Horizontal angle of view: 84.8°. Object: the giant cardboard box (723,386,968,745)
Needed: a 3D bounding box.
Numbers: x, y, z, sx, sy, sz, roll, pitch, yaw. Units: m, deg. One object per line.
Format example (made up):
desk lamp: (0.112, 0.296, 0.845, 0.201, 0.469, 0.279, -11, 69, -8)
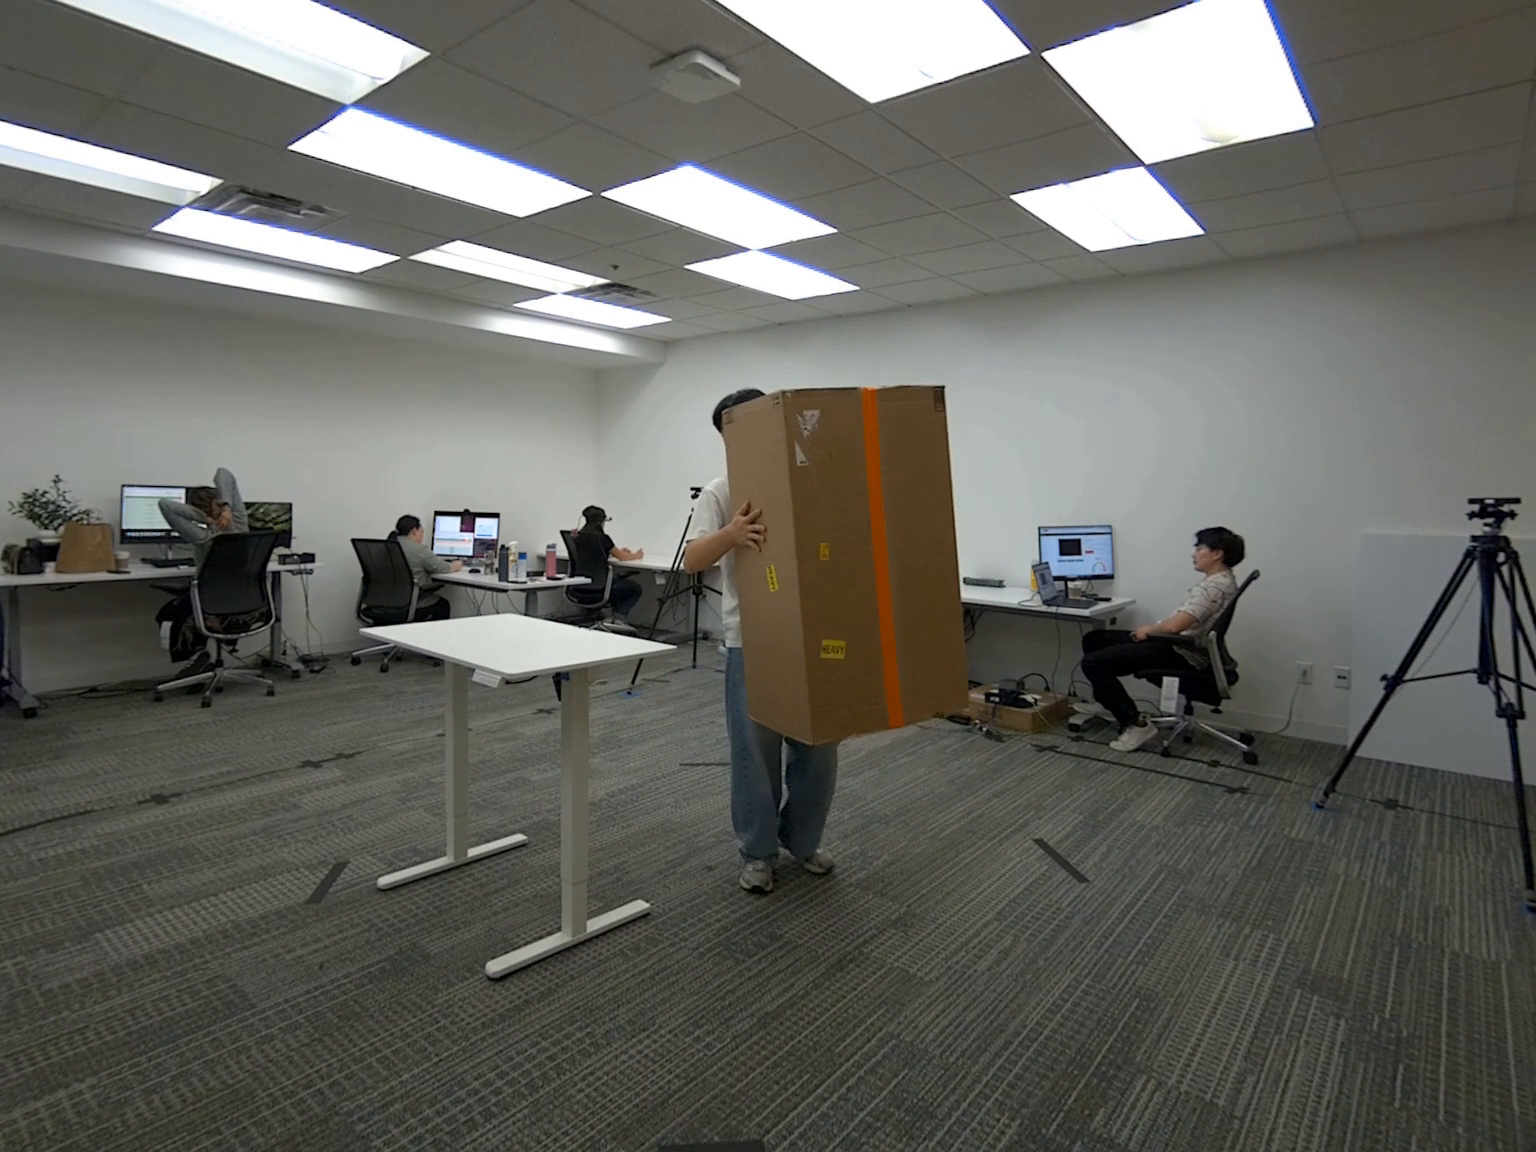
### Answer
giant cardboard box: (0.238, -0.058, 2.717, 0.566, 1.023, 0.436, -6, 3, -23)
